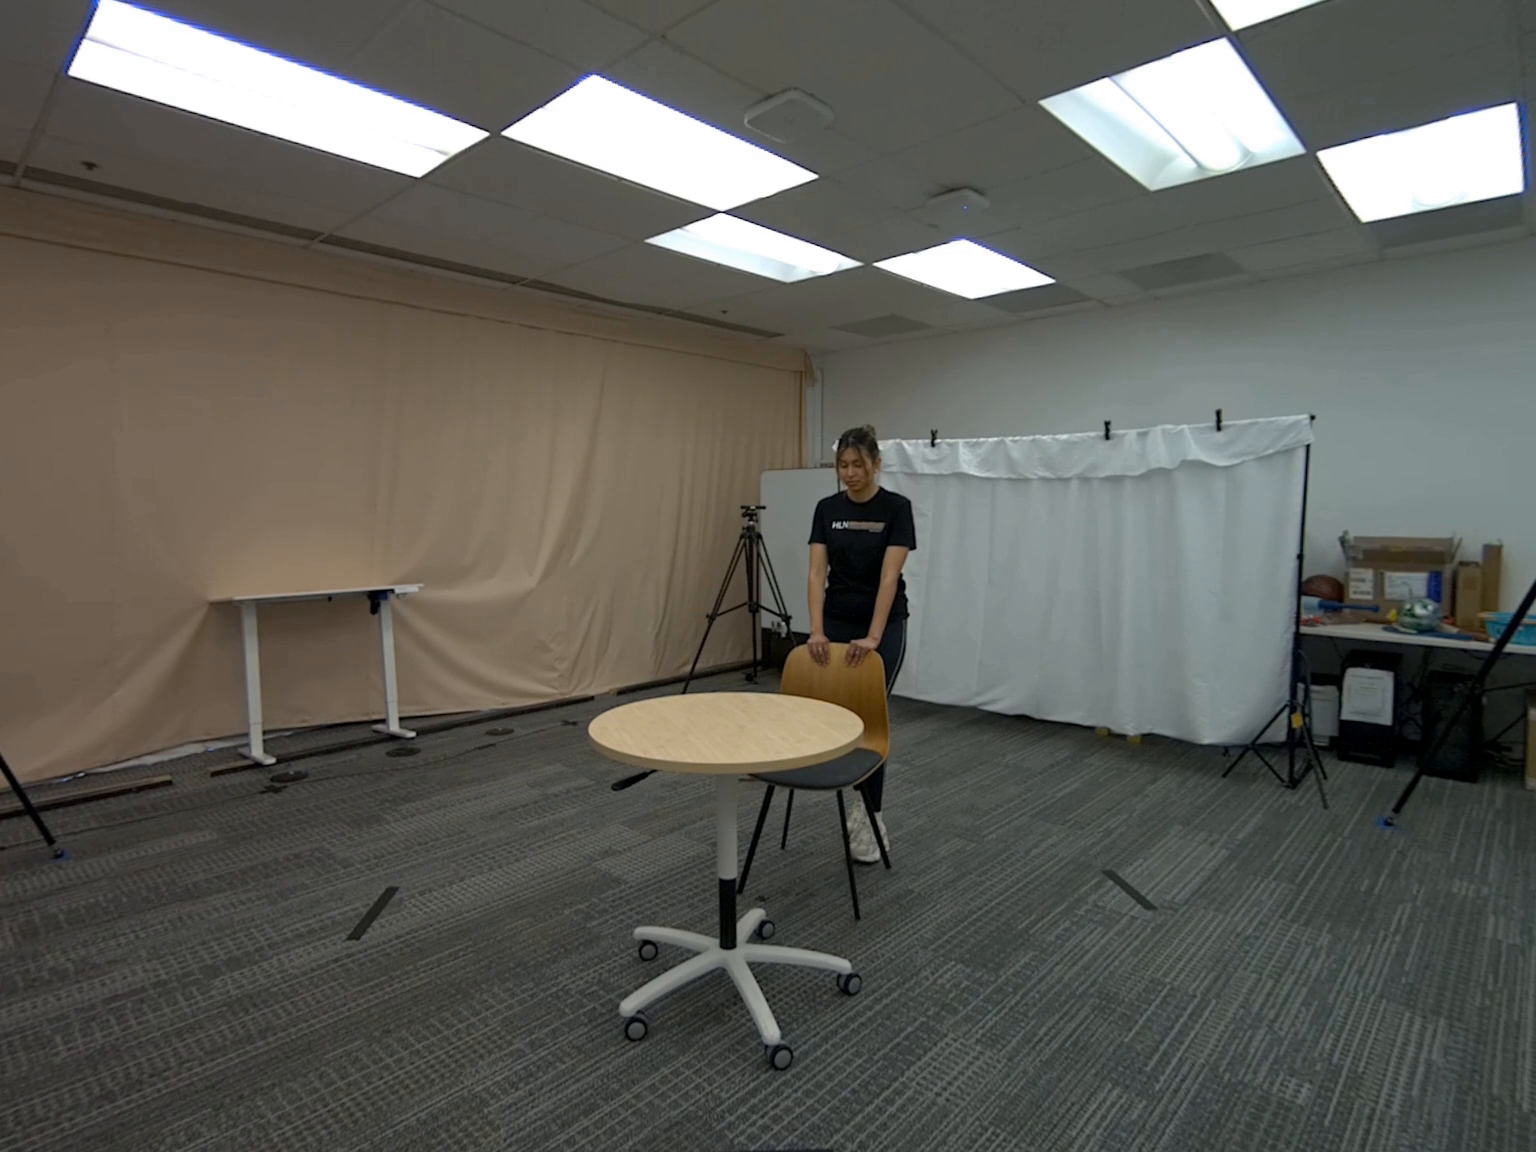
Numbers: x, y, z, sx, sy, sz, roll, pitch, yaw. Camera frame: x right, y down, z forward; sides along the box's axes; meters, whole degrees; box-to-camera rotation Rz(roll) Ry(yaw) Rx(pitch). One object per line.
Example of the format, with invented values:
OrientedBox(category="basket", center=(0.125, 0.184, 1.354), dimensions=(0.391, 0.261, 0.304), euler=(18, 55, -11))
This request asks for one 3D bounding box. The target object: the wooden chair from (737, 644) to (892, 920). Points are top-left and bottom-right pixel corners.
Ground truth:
OrientedBox(category="wooden chair", center=(0.185, 0.704, 3.085), dimensions=(0.490, 0.877, 0.510), euler=(2, 0, 24))
